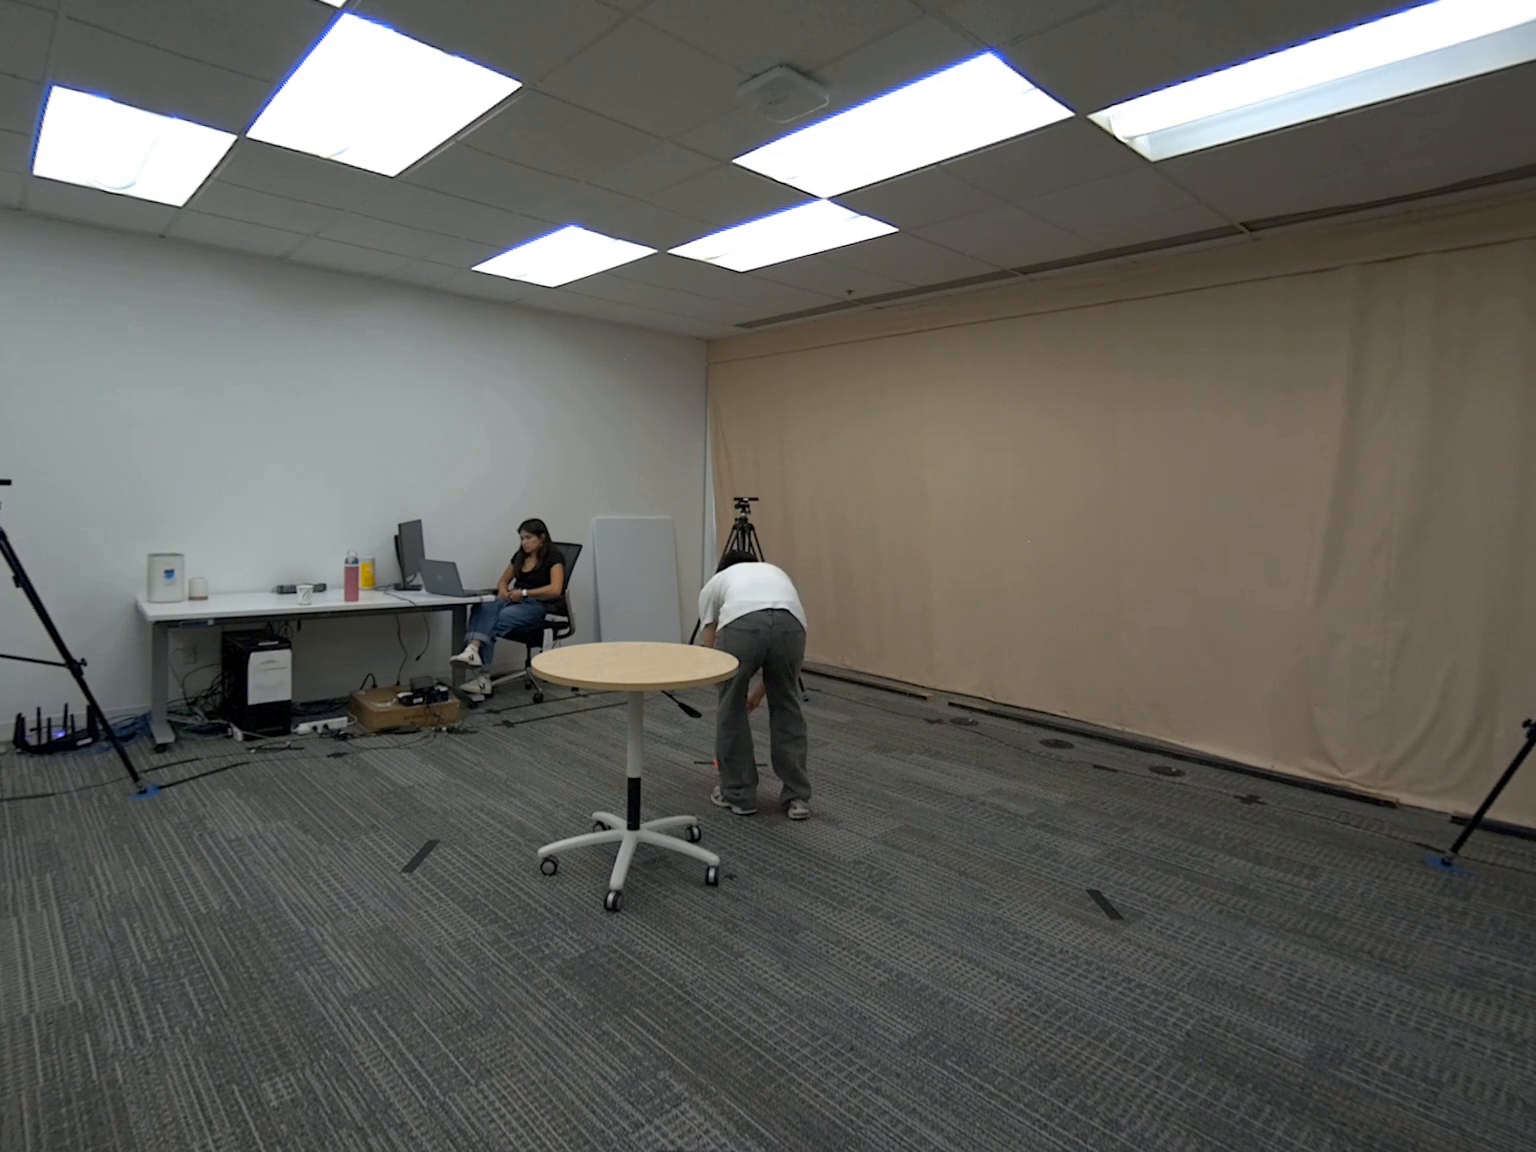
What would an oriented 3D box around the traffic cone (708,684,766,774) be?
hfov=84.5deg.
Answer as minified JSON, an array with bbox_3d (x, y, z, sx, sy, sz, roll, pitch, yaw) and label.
[{"bbox_3d":[-0.157,0.751,4.176,0.200,0.383,0.208,5,2,-18],"label":"traffic cone"}]
